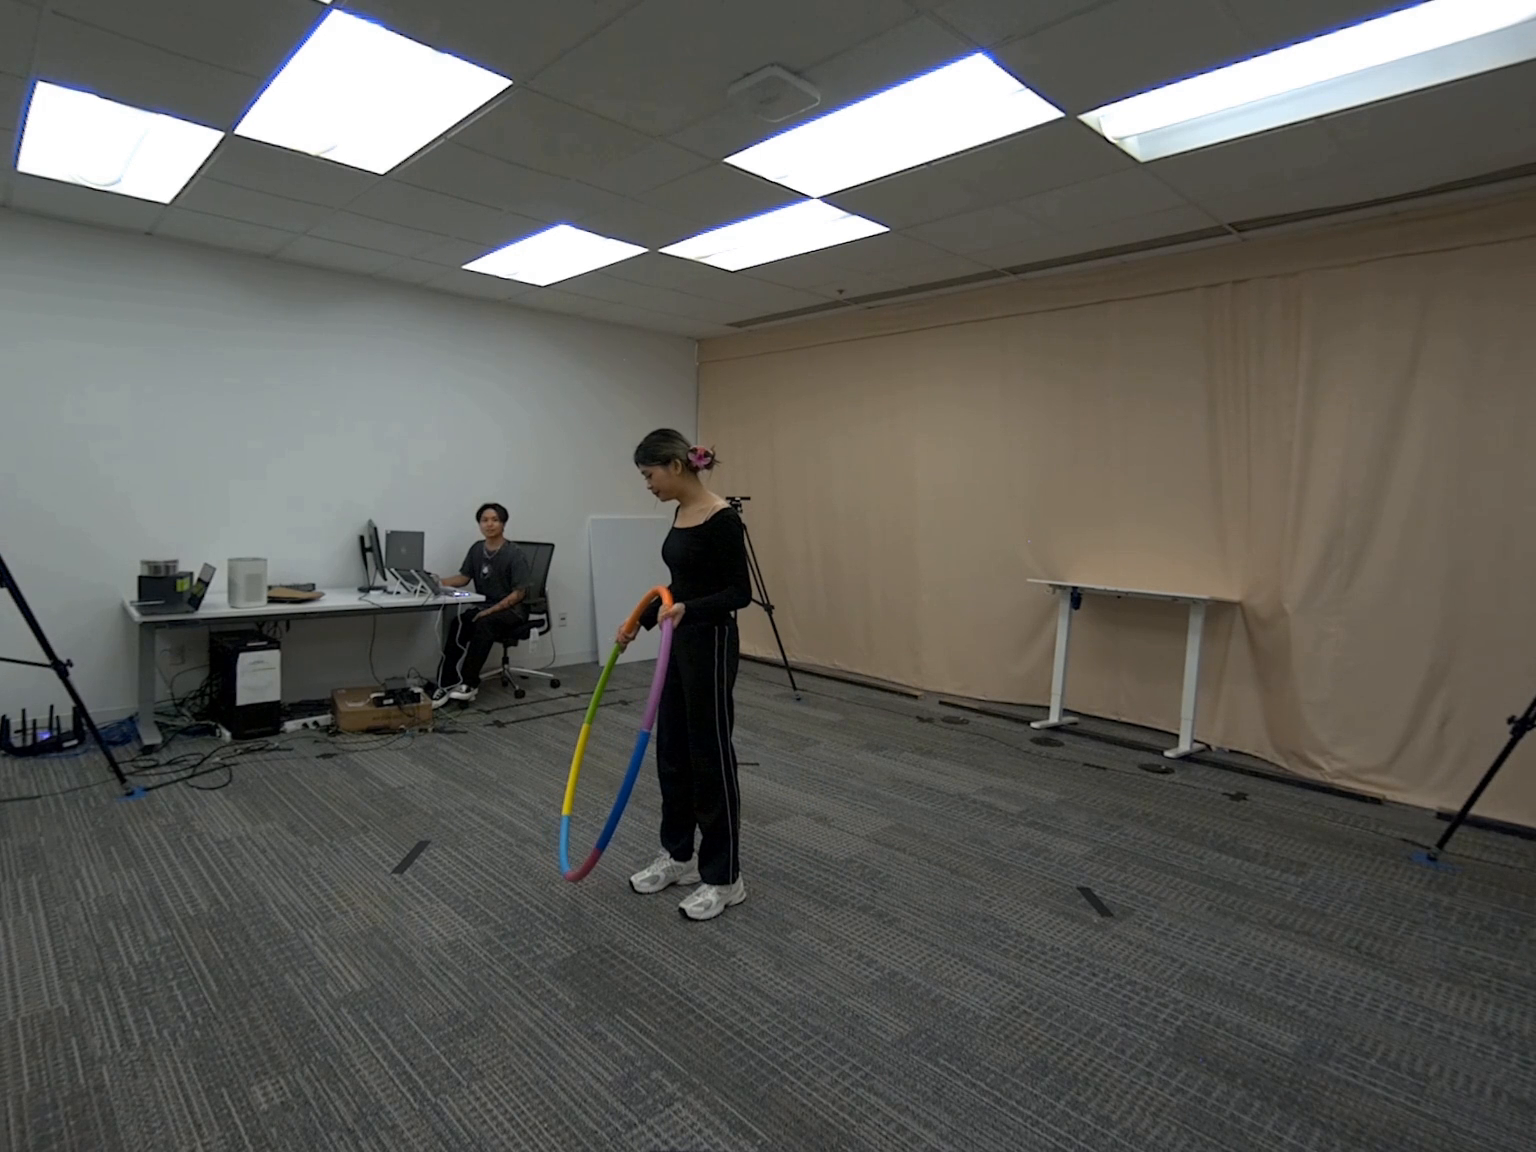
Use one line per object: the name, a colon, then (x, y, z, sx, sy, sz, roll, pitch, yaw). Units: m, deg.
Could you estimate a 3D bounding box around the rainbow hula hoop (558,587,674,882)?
rainbow hula hoop: (-0.529, 0.509, 2.809, 0.035, 0.979, 0.994, 19, -1, -18)
